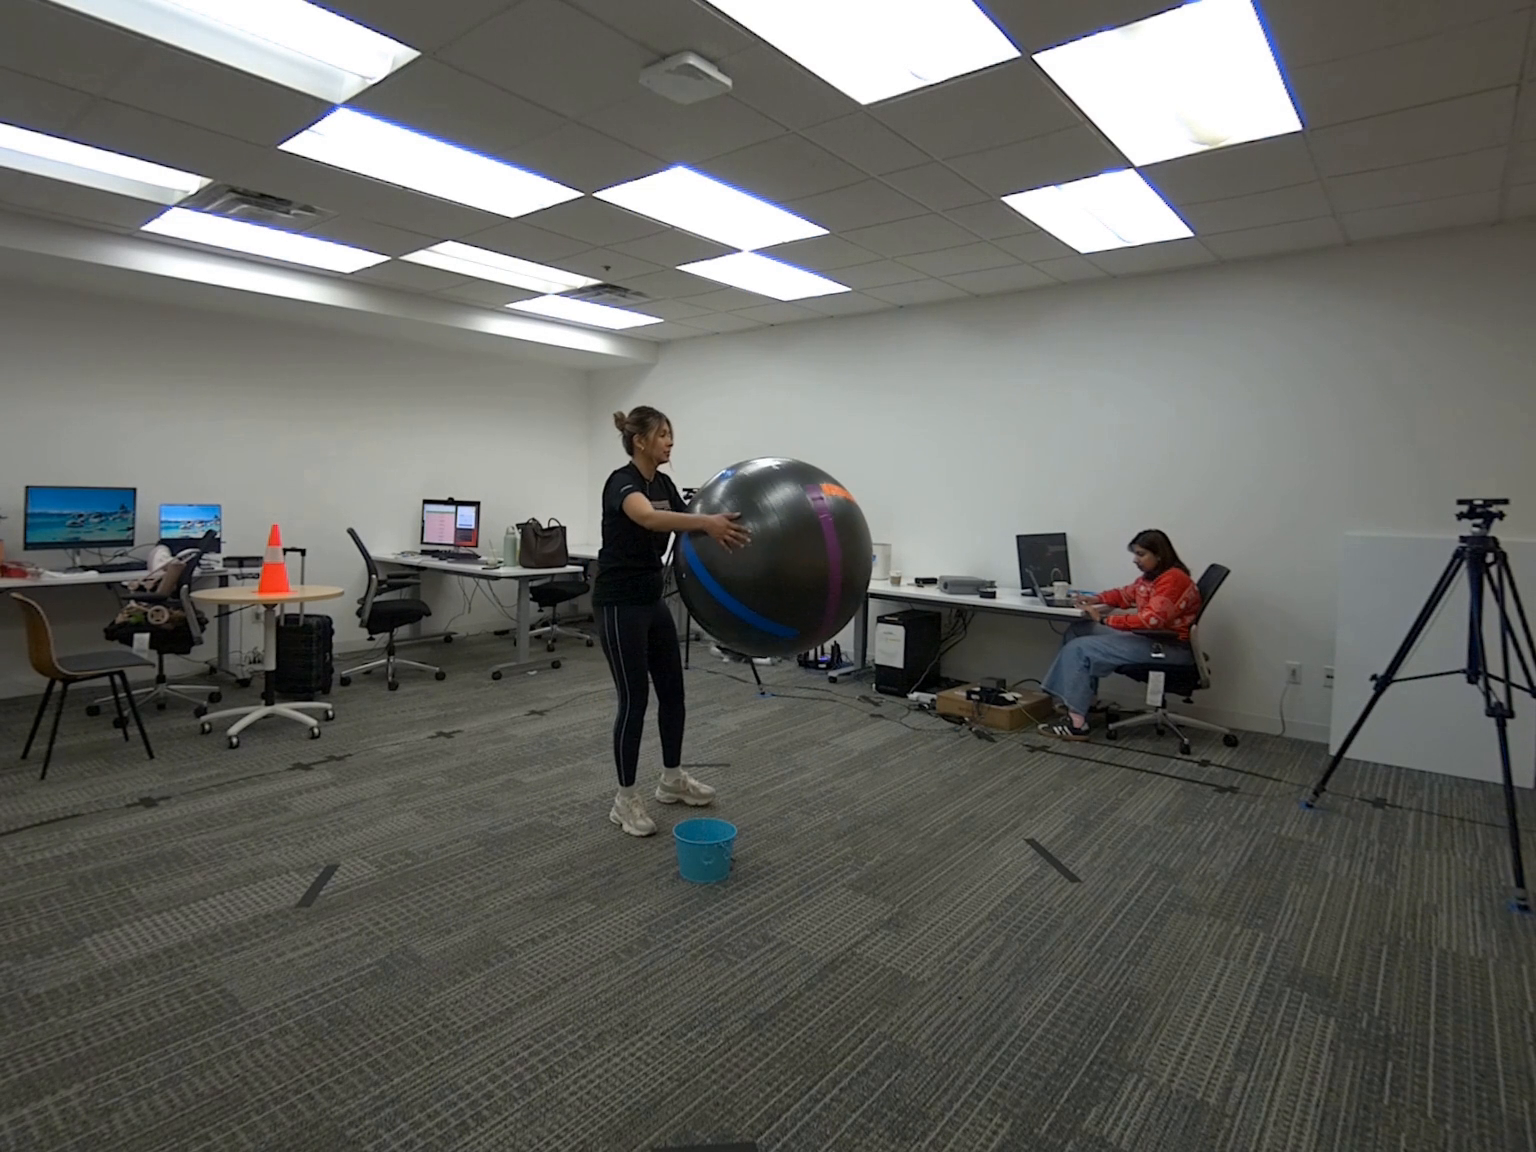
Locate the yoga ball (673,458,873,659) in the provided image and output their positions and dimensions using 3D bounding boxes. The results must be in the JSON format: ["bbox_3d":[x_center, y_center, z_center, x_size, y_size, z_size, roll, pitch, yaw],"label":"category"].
[{"bbox_3d":[0.014,-0.064,3.231,0.757,0.756,0.761,1,4,-2],"label":"yoga ball"}]
